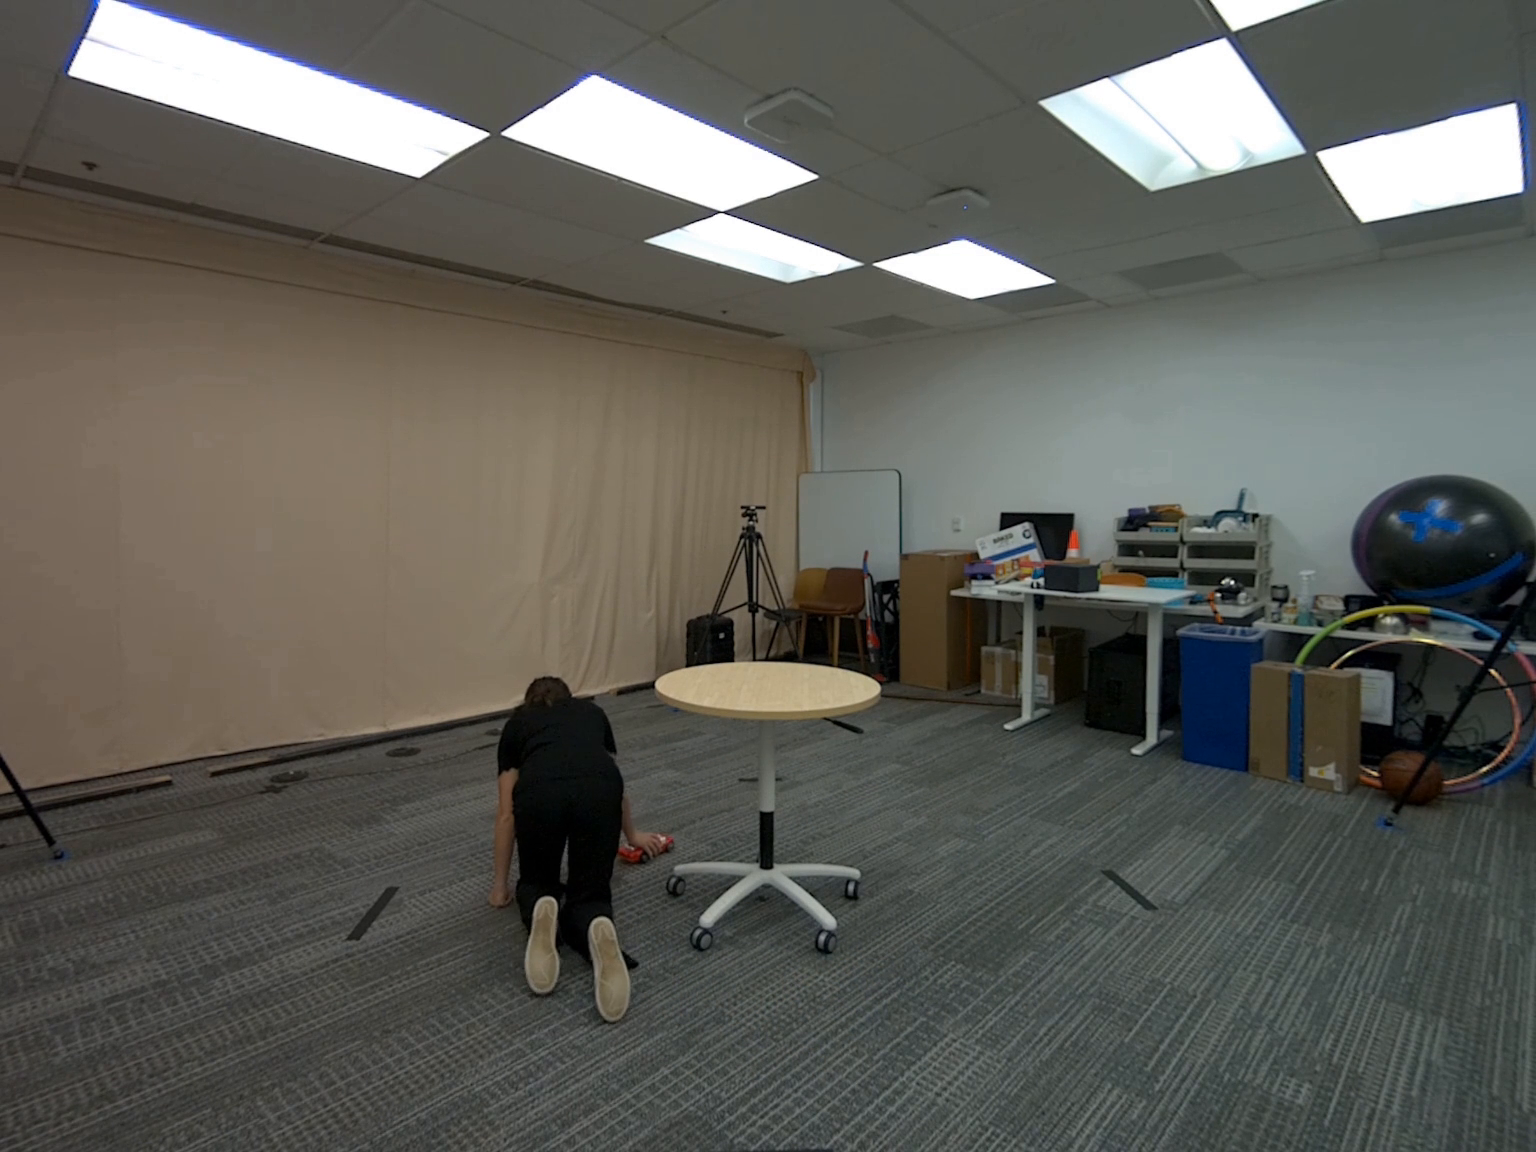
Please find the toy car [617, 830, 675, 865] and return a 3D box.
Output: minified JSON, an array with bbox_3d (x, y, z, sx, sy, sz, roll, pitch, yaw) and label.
[{"bbox_3d":[-0.493,1.088,3.364,0.134,0.083,0.246,4,-4,42],"label":"toy car"}]
